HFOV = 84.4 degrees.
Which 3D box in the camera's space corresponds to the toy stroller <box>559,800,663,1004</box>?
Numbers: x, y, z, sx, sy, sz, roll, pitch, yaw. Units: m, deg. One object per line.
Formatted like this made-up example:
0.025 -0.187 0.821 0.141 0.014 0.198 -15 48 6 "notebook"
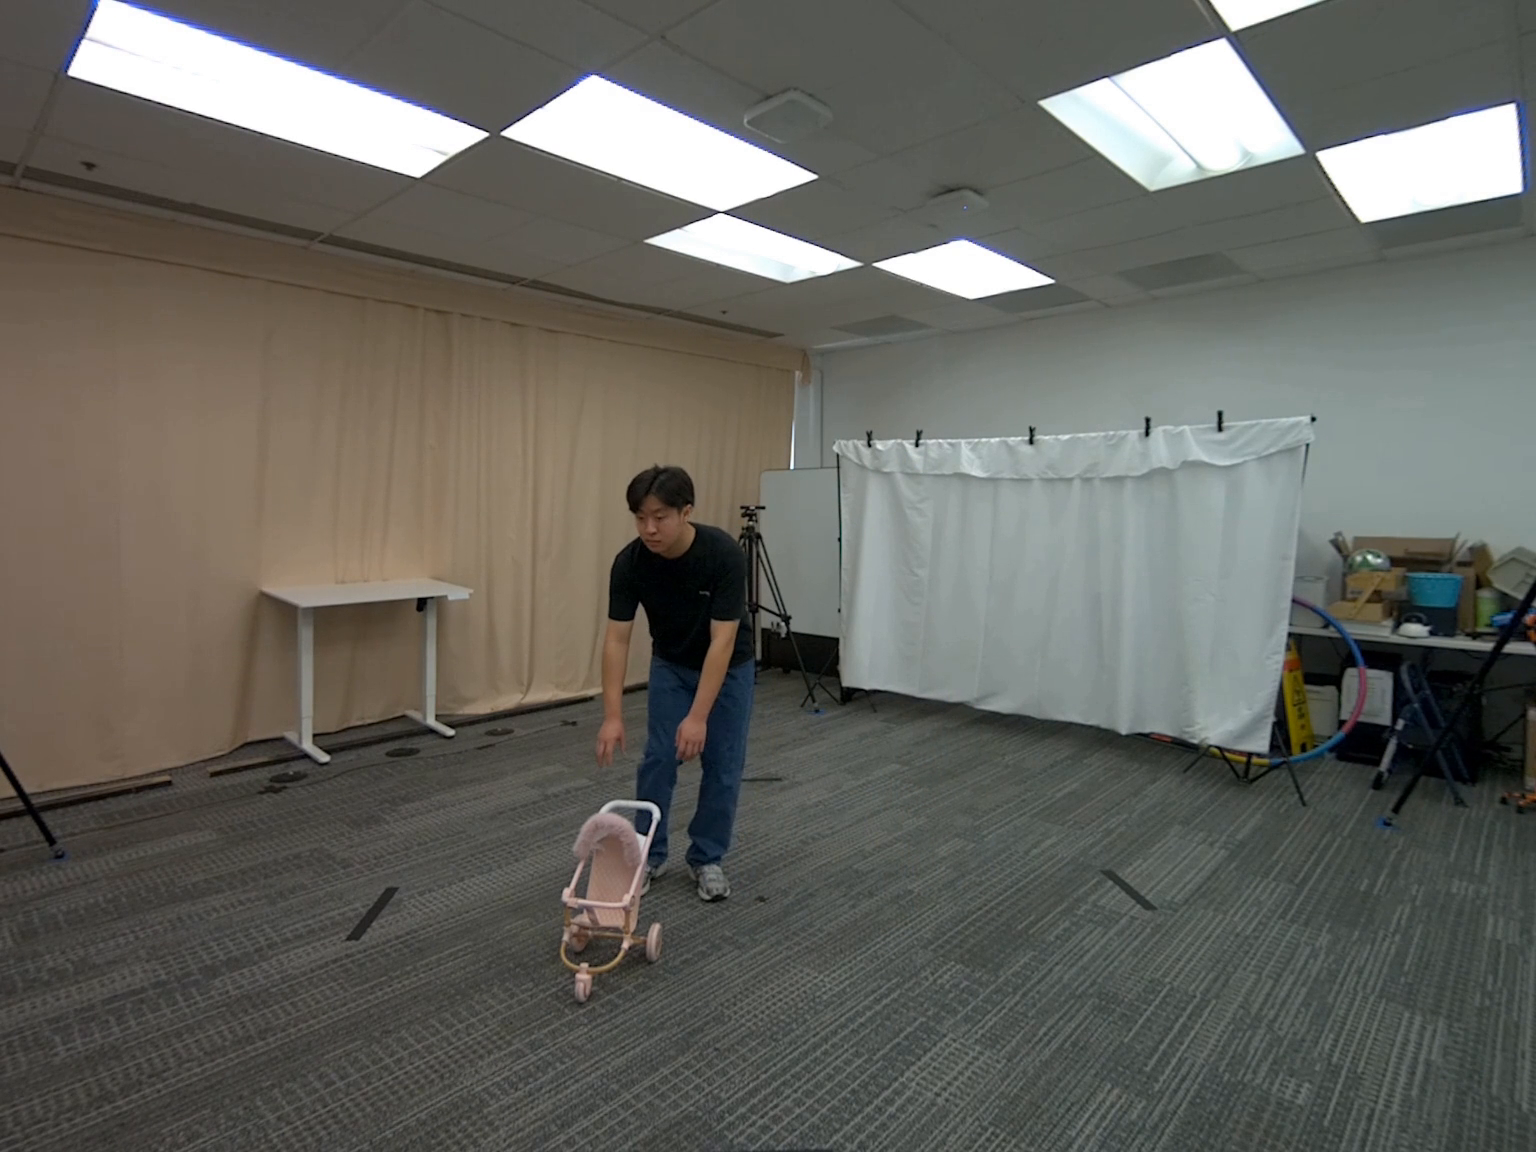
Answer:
-0.488 0.961 2.544 0.287 0.538 0.332 0 -13 17 "toy stroller"
